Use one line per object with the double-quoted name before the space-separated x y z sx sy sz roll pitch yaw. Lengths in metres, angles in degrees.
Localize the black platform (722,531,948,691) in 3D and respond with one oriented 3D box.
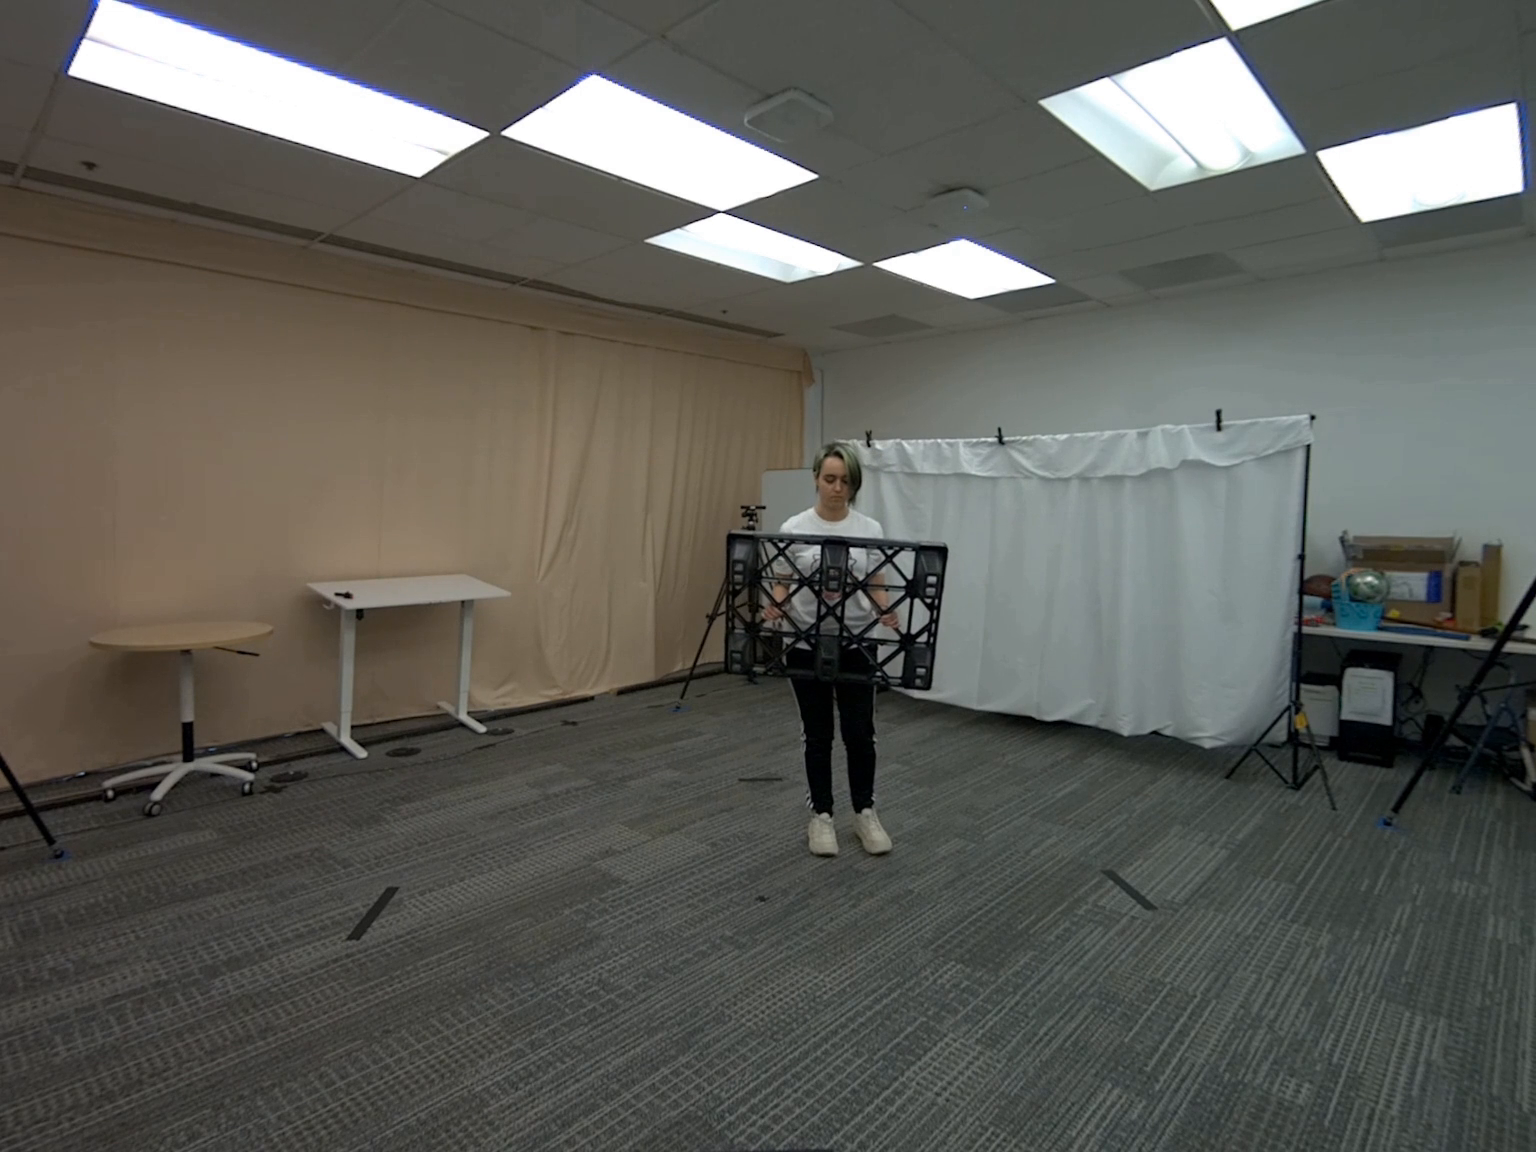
"black platform" 0.239 0.159 3.127 0.812 0.598 0.144 4 21 7
